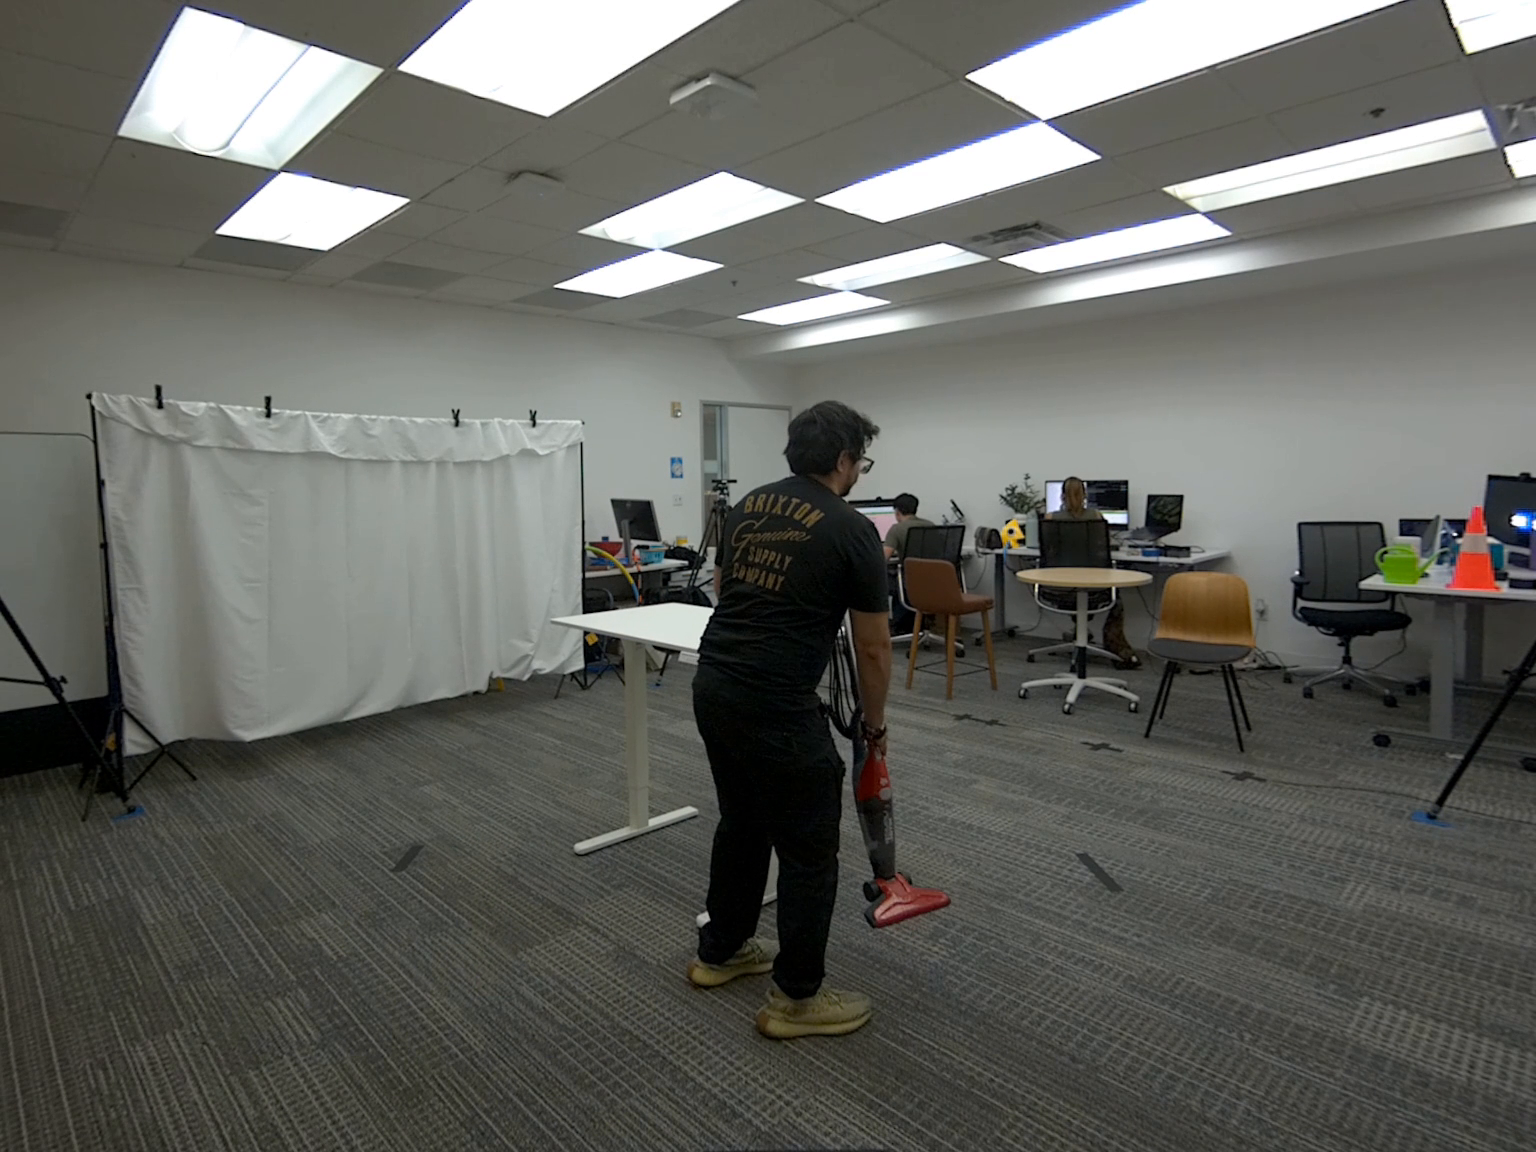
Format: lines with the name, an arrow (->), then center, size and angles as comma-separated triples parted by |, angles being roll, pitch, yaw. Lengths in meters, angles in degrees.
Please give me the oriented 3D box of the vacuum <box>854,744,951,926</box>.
vacuum -> 0.262, 0.370, 2.425 | 0.247, 1.063, 0.145 | -5, -13, -27
